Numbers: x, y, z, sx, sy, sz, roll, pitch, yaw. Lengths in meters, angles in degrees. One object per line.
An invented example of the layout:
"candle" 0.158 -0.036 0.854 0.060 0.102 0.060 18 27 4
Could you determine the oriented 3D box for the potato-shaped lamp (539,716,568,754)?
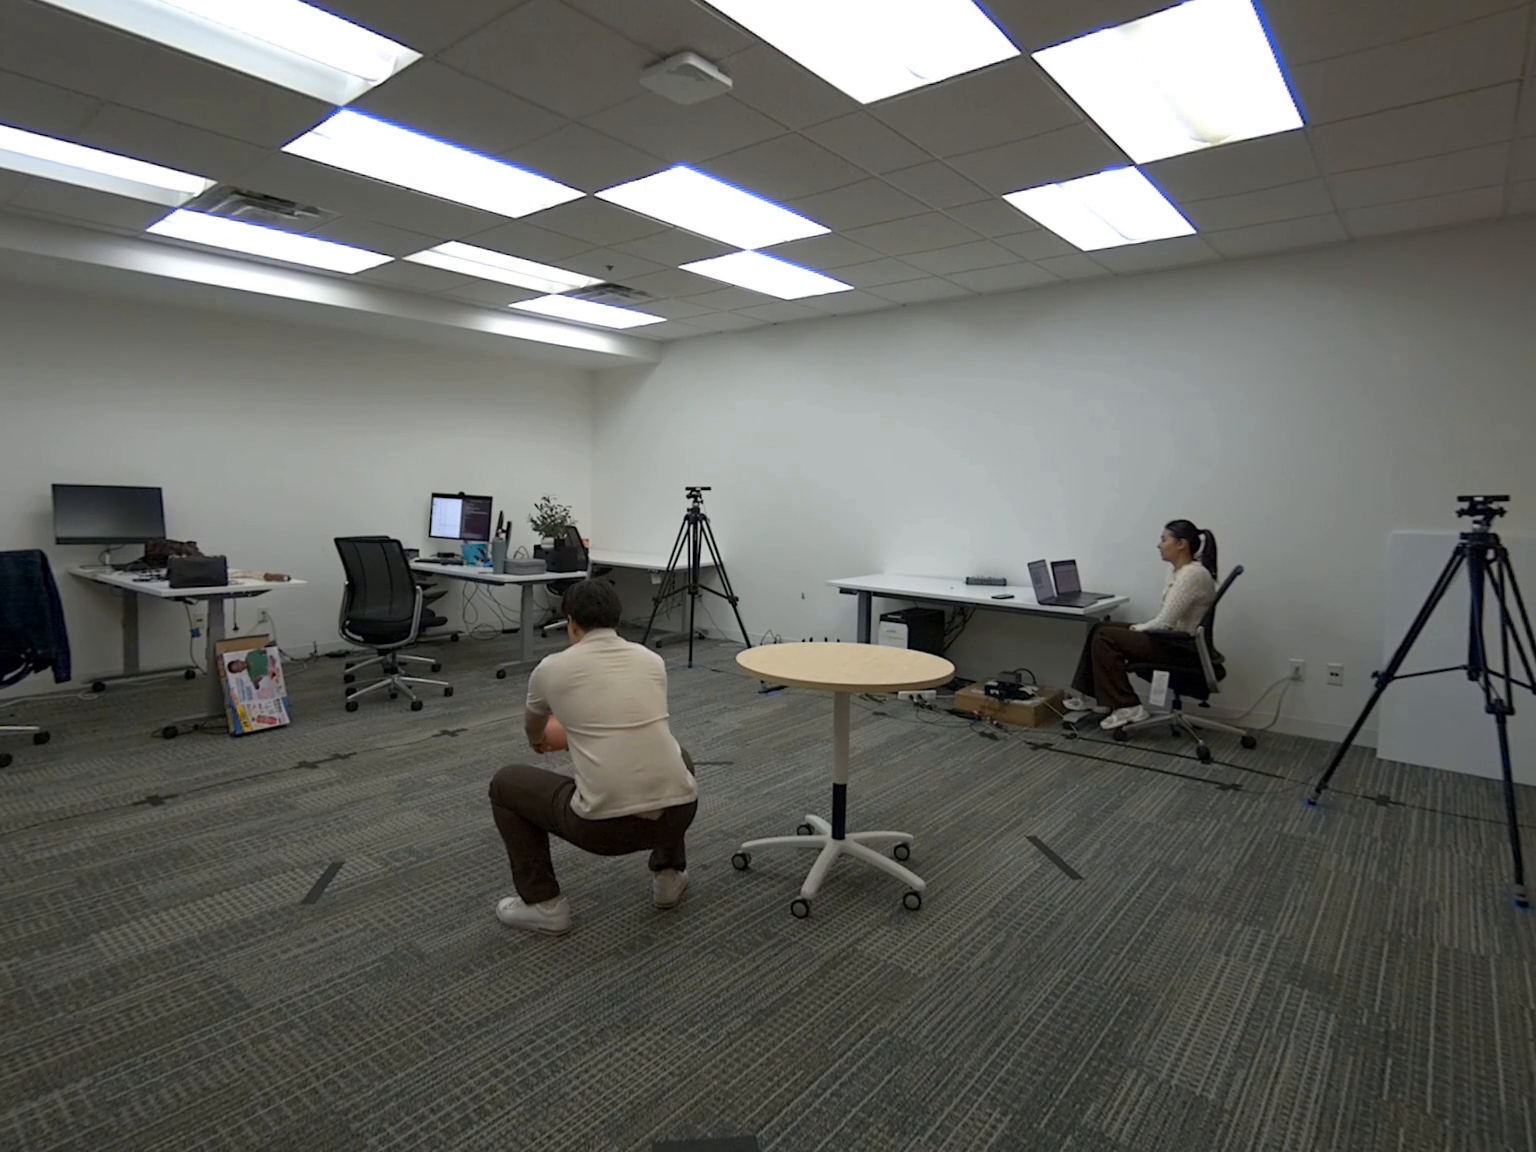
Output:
"potato-shaped lamp" -0.831 0.570 3.285 0.161 0.199 0.174 -4 -6 -23
